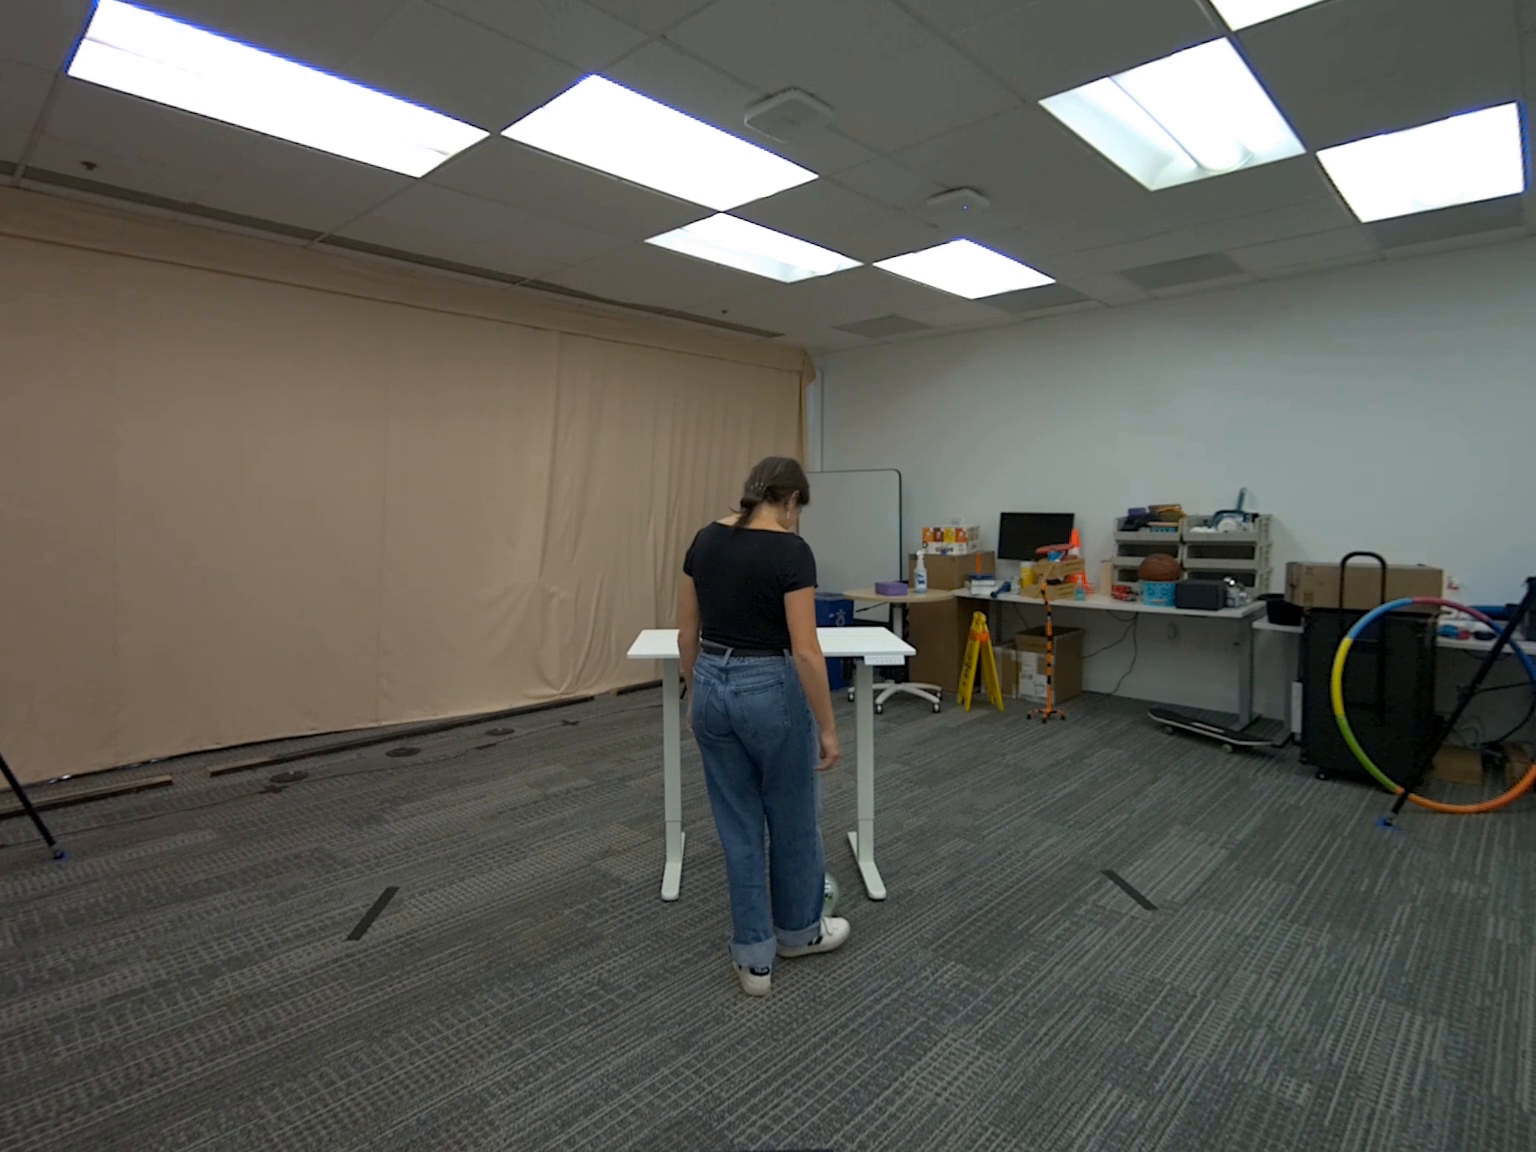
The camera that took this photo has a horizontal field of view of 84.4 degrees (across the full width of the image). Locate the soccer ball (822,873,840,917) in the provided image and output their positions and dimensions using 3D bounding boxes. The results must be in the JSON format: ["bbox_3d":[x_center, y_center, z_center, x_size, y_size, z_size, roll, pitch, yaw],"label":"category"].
[{"bbox_3d":[0.168,1.070,2.782,0.187,0.187,0.188,0,4,-2],"label":"soccer ball"}]
